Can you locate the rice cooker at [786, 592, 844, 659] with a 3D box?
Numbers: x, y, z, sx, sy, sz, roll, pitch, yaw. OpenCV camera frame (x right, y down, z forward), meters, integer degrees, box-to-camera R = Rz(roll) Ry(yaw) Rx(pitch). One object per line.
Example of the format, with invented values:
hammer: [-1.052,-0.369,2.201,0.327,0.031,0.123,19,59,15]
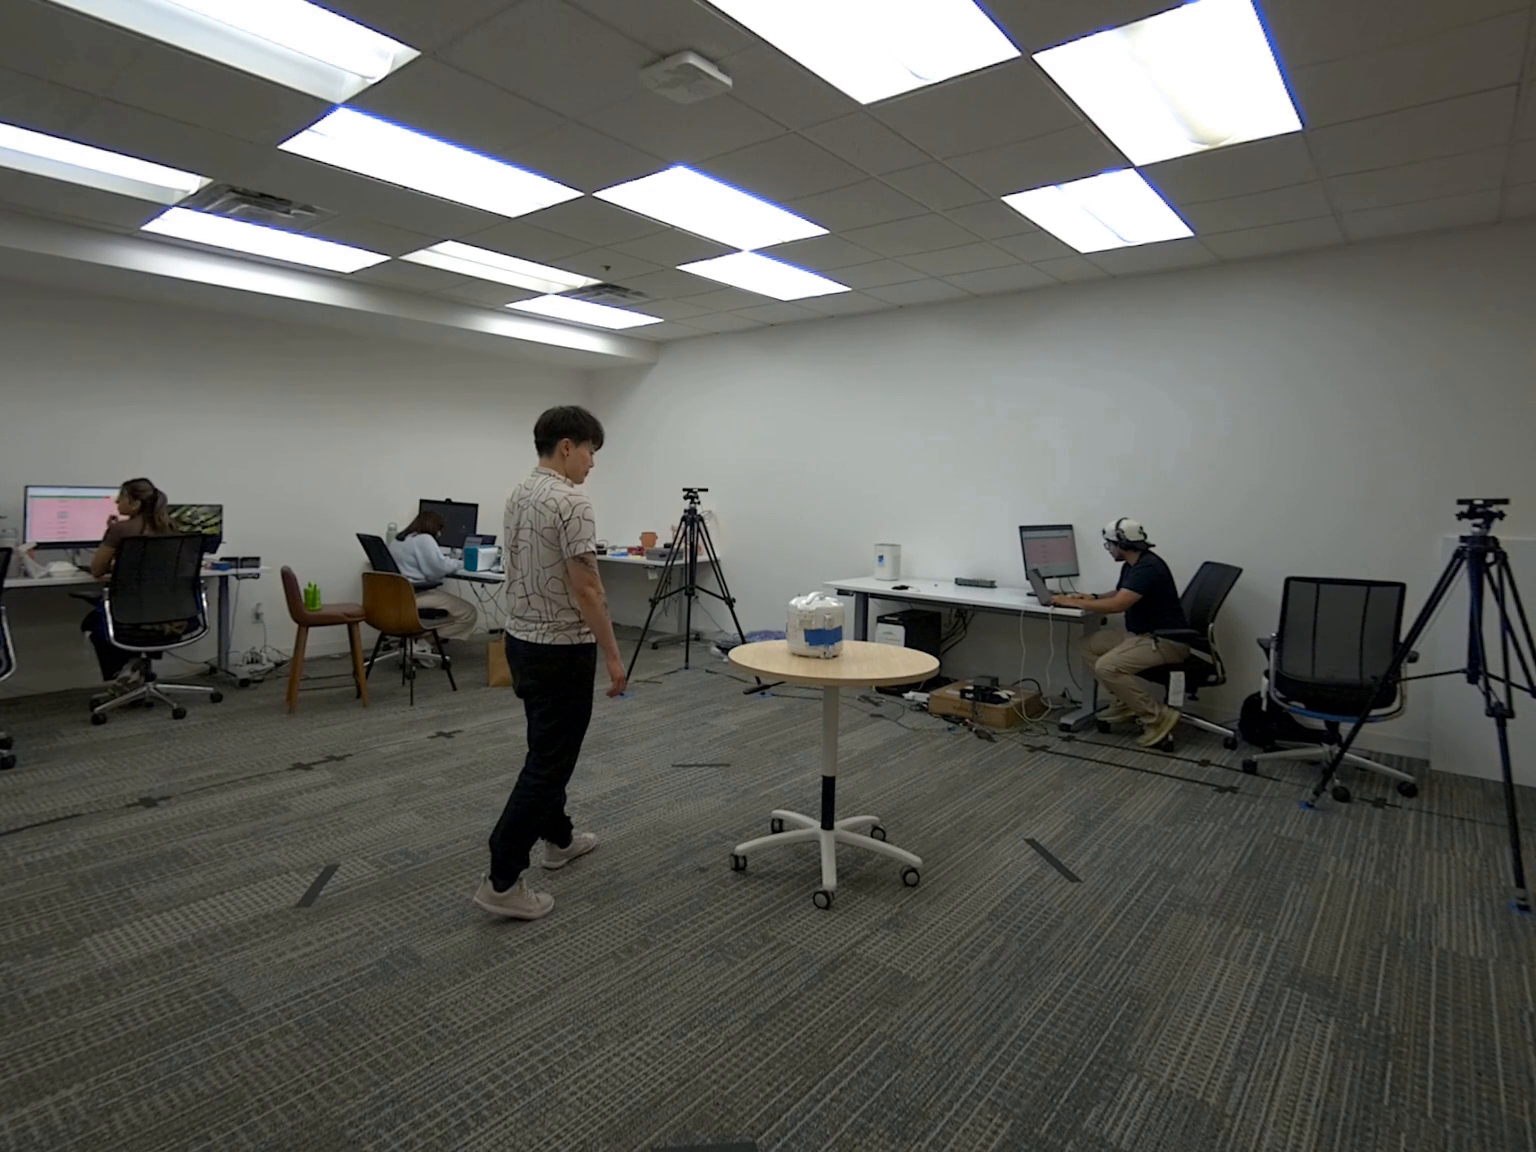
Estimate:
rice cooker: [0.165,0.176,3.168,0.223,0.232,0.216,3,4,25]
